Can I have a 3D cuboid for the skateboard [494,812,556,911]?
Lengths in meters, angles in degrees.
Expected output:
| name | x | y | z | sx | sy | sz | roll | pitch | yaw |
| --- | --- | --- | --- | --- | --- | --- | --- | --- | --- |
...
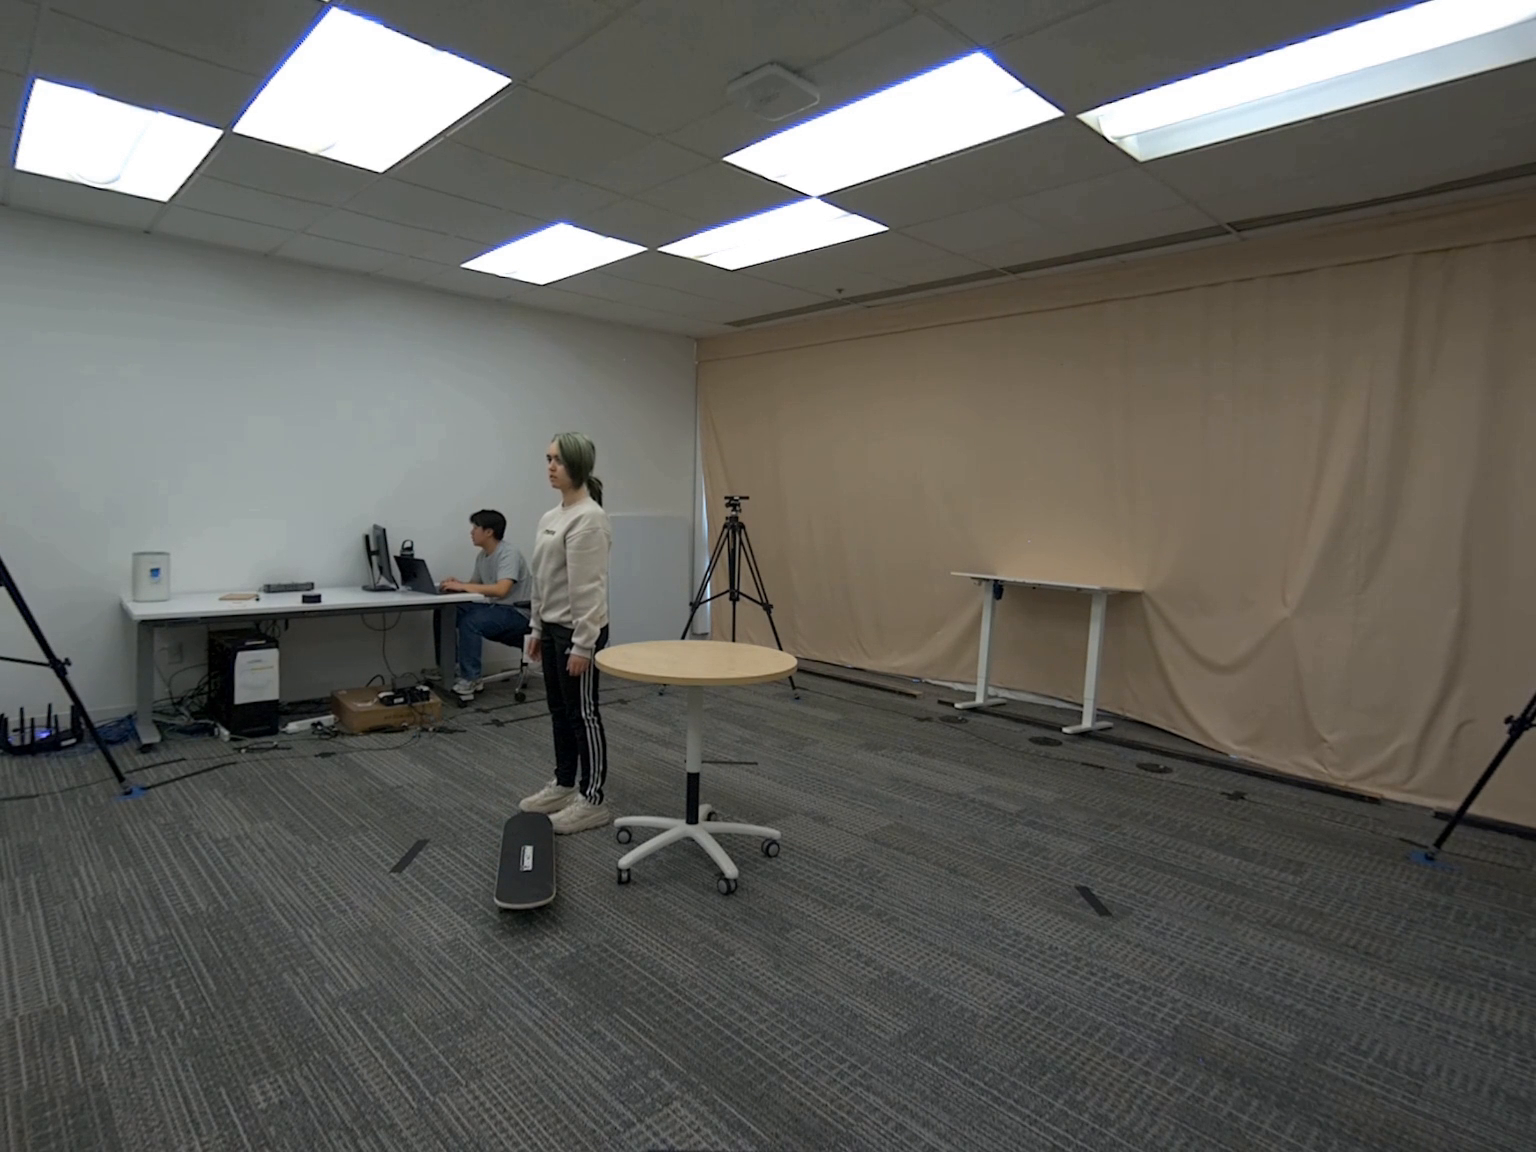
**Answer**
| name | x | y | z | sx | sy | sz | roll | pitch | yaw |
| --- | --- | --- | --- | --- | --- | --- | --- | --- | --- |
| skateboard | -0.857 | 1.029 | 3.014 | 0.191 | 0.110 | 0.796 | -3 | 5 | -14 |
